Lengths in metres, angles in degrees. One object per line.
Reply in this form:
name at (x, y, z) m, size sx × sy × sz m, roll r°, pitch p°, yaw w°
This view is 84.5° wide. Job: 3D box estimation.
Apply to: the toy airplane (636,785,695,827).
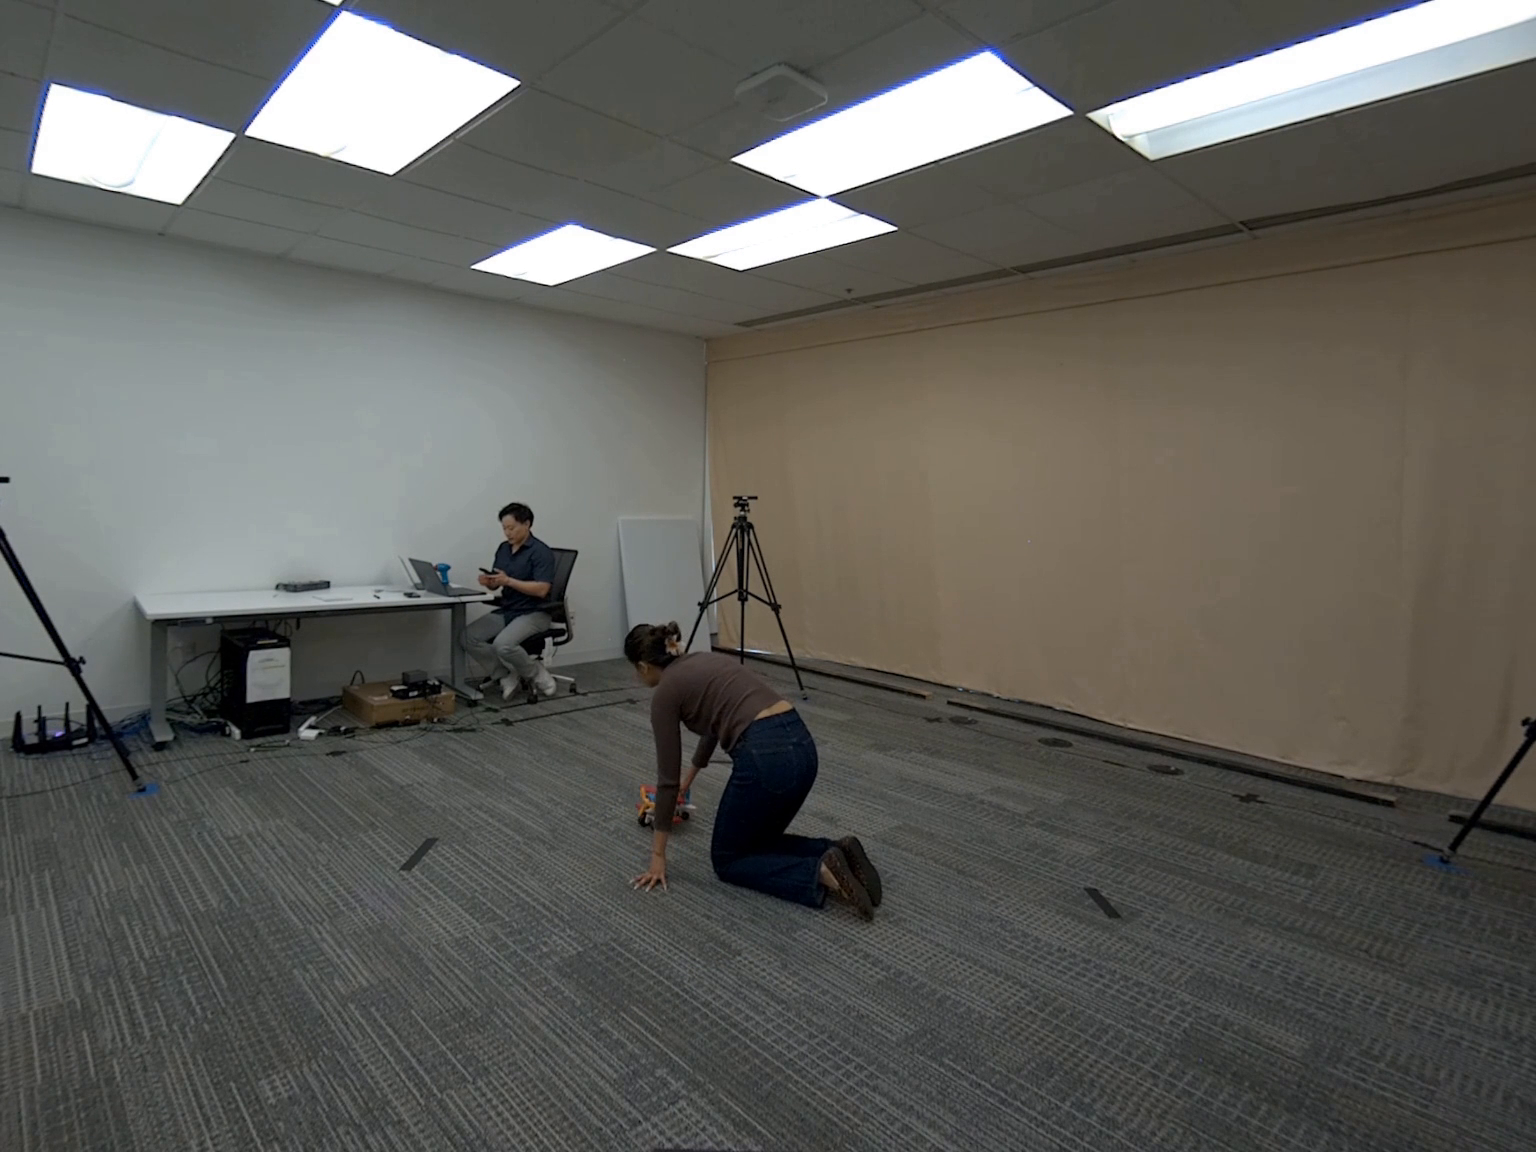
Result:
toy airplane at (-0.455, 0.981, 3.588) m, size 0.254 × 0.156 × 0.257 m, roll 1°, pitch 6°, yaw 16°
